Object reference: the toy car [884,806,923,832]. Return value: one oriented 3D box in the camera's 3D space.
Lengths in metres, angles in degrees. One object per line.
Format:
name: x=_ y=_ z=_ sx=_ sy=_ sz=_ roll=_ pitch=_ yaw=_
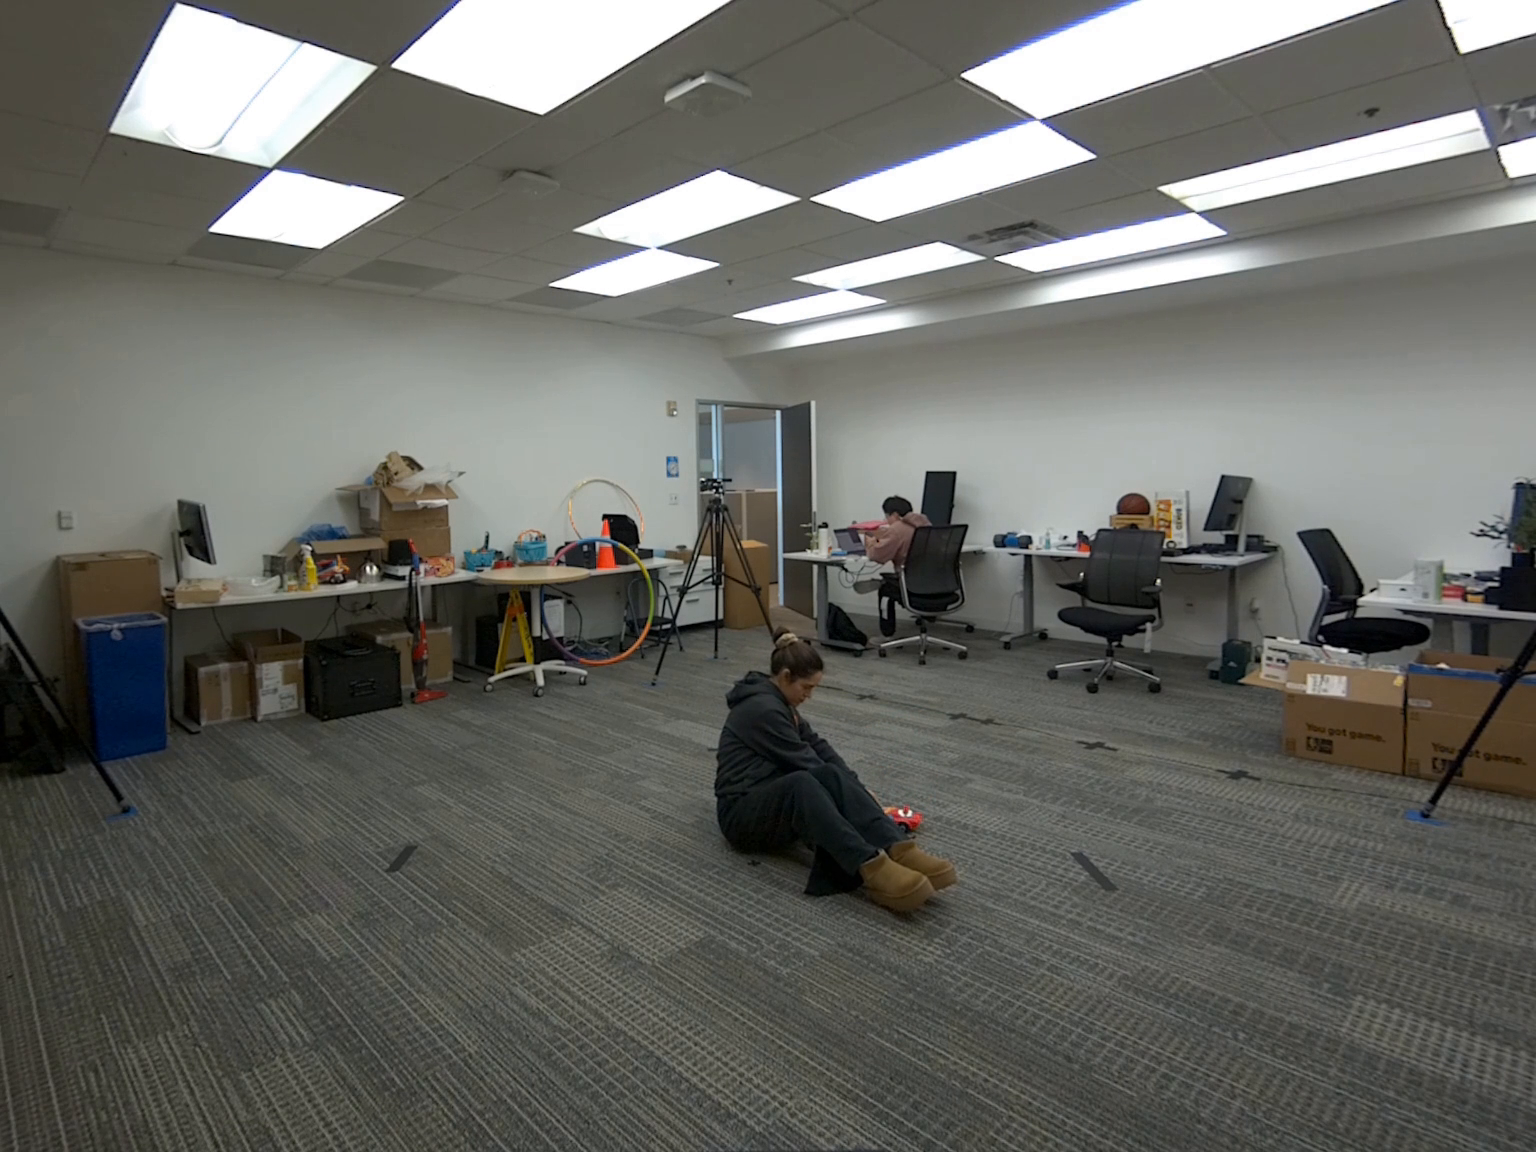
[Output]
toy car: x=0.488 y=0.962 z=3.369 sx=0.257 sy=0.083 sz=0.129 roll=-11 pitch=3 yaw=14
